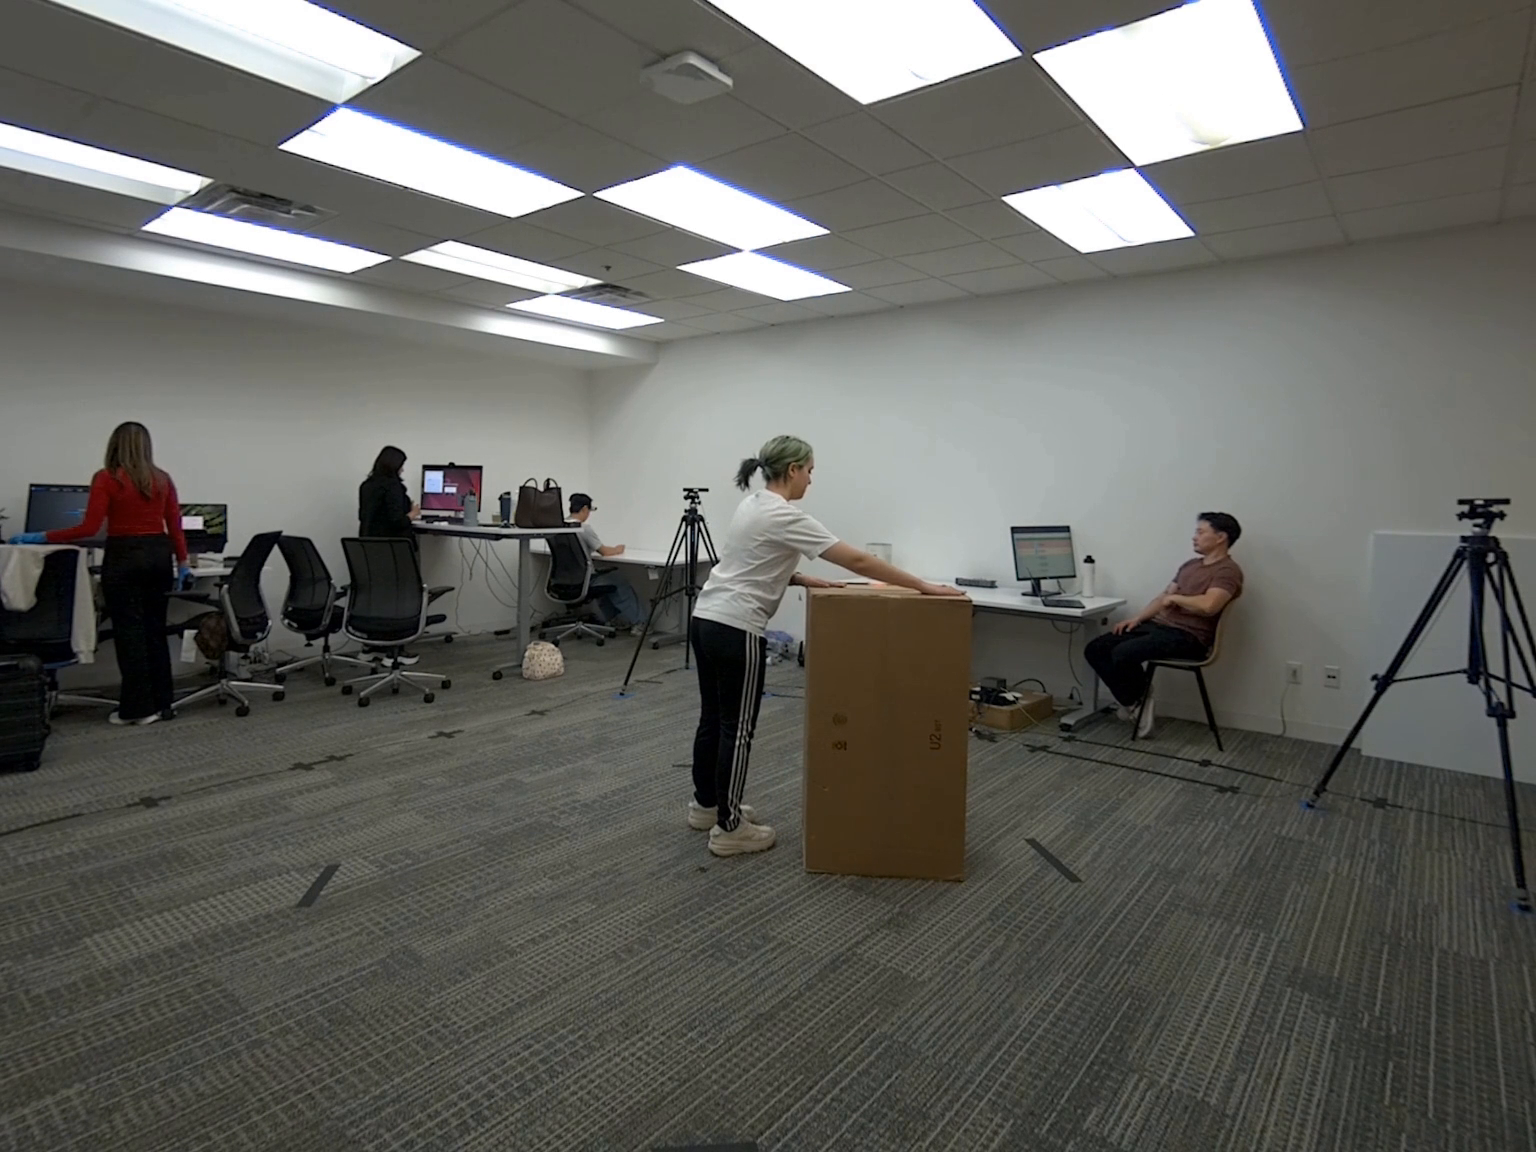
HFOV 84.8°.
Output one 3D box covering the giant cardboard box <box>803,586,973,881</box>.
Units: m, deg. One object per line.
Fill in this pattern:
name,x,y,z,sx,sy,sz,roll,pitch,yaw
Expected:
giant cardboard box,0.428,0.559,3.258,0.586,1.023,0.447,1,4,3
